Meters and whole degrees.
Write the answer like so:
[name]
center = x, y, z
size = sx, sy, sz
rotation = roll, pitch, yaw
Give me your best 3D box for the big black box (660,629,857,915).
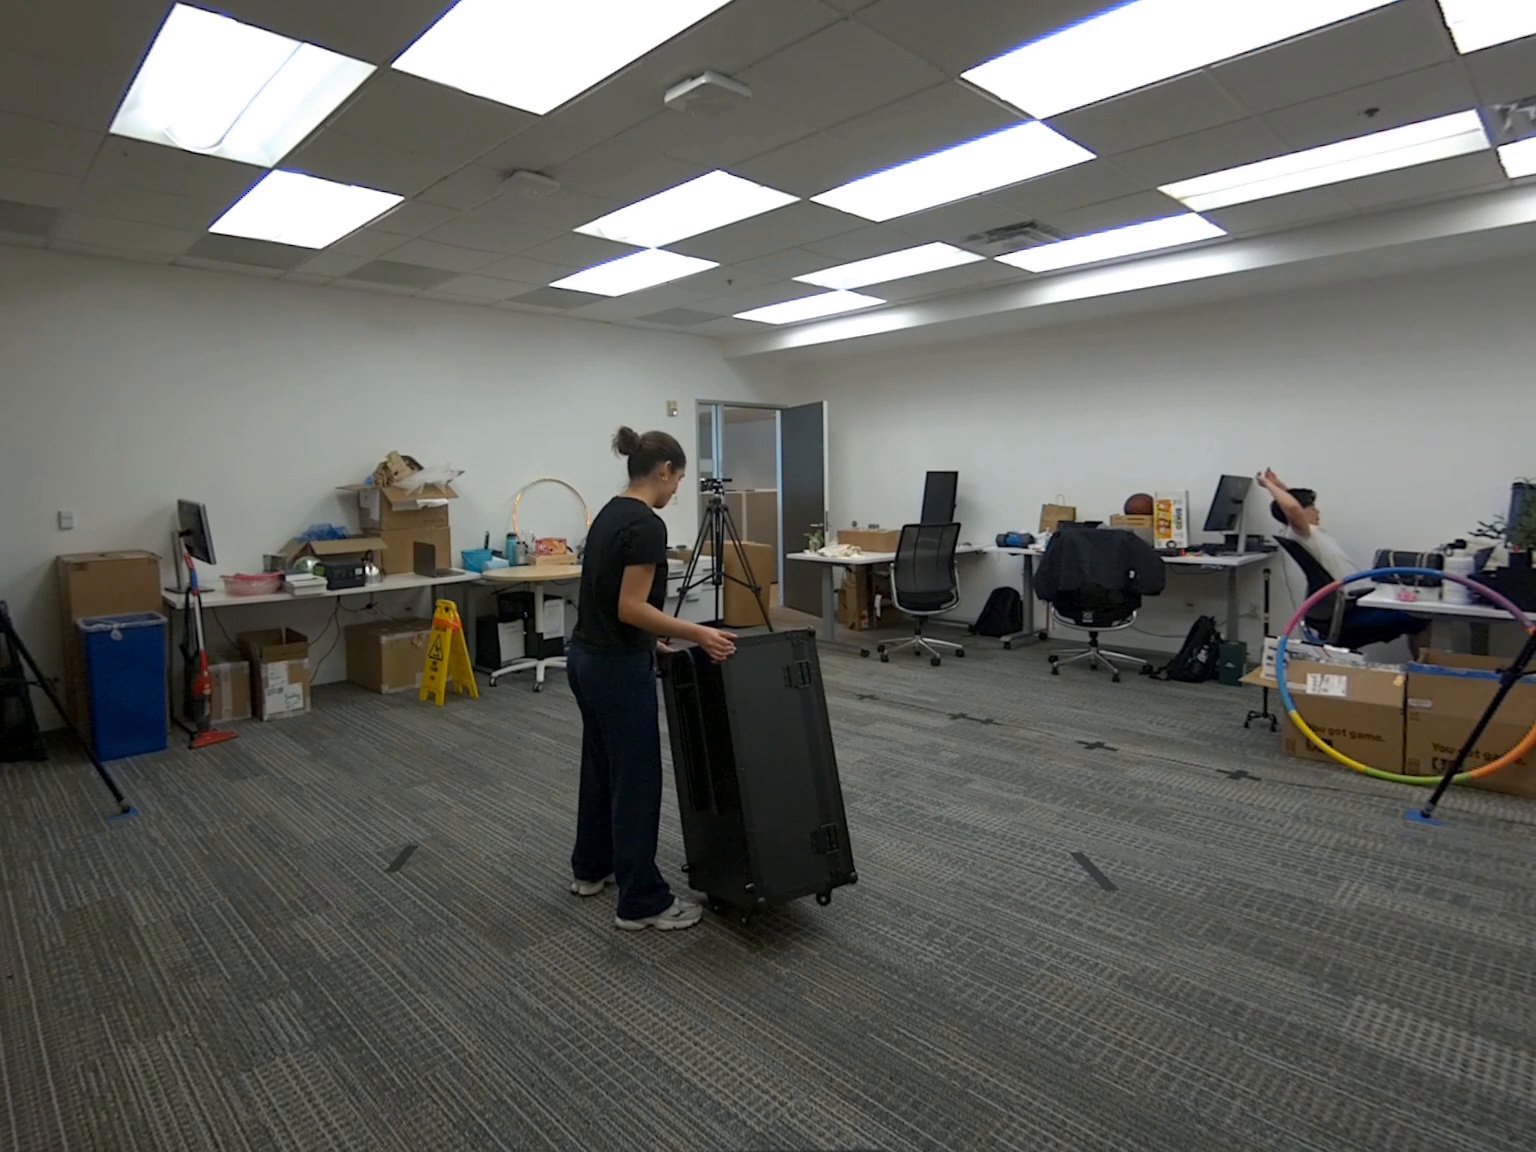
[big black box]
center = -0.055, 0.633, 2.791
size = 0.387, 0.870, 0.528
rotation = -4, -10, -29
